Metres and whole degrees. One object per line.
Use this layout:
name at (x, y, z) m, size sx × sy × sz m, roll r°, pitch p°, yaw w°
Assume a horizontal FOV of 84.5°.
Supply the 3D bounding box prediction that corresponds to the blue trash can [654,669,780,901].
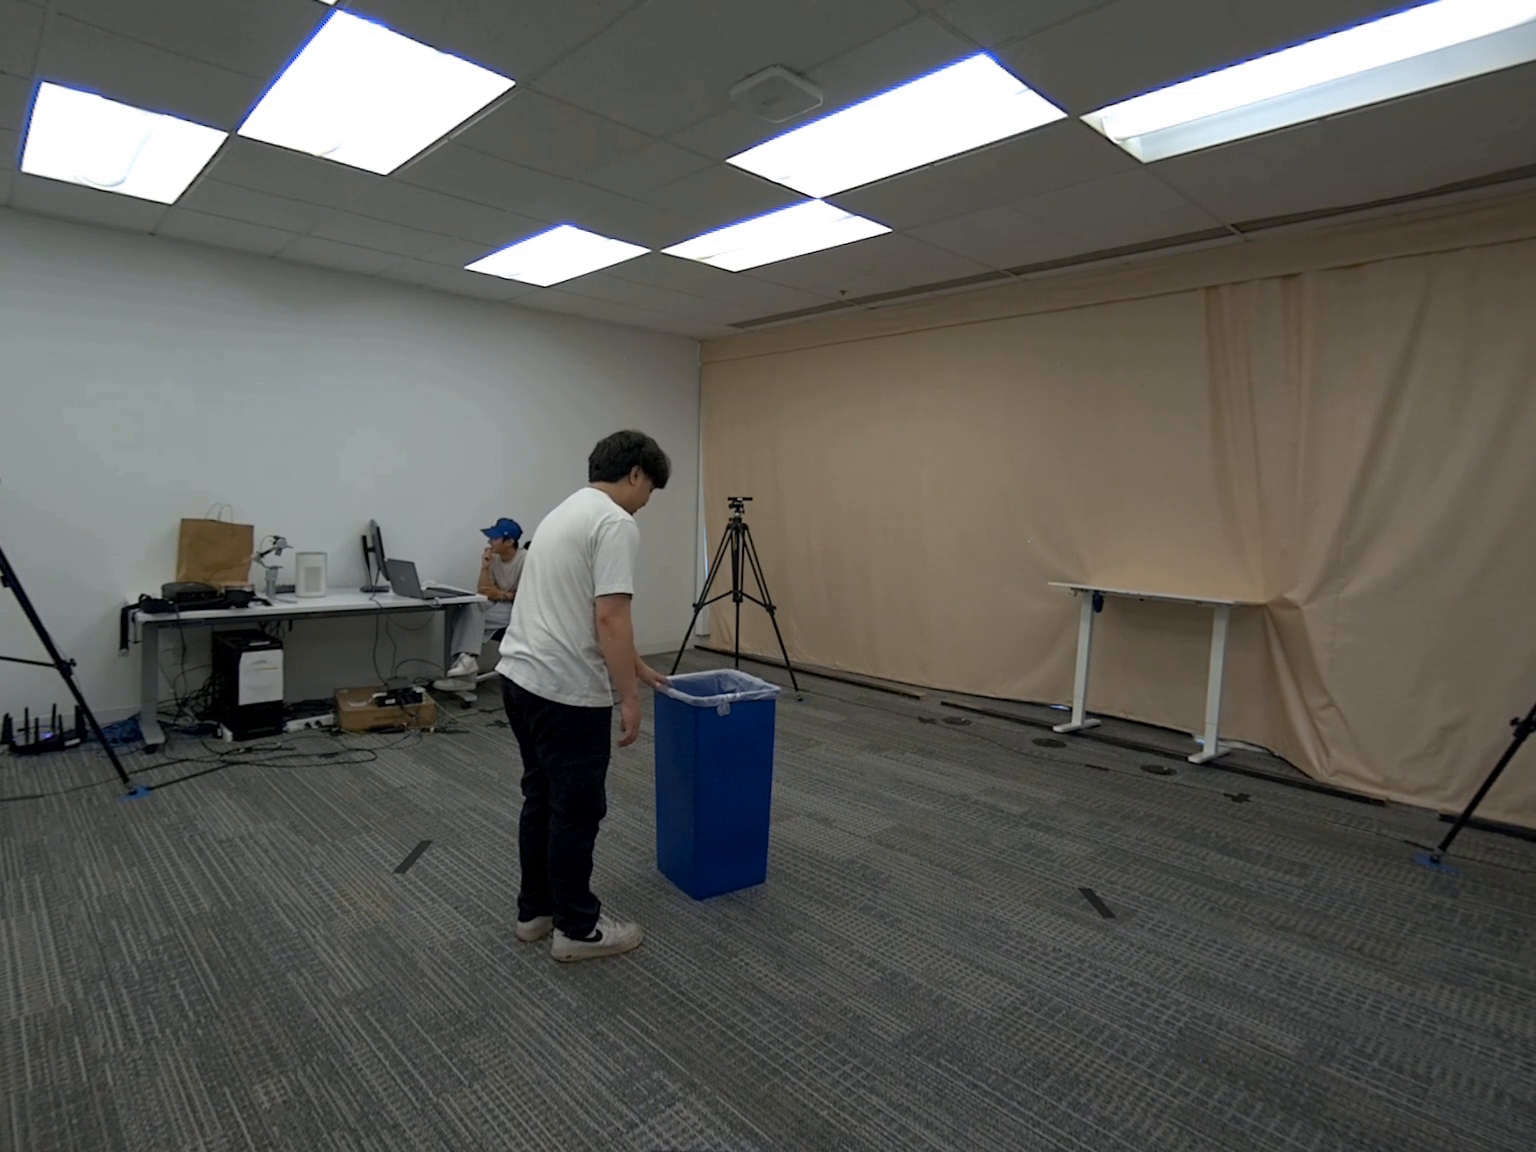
blue trash can at (-0.215, 0.747, 3.096) m, size 0.370 × 0.712 × 0.383 m, roll -1°, pitch 4°, yaw -34°
